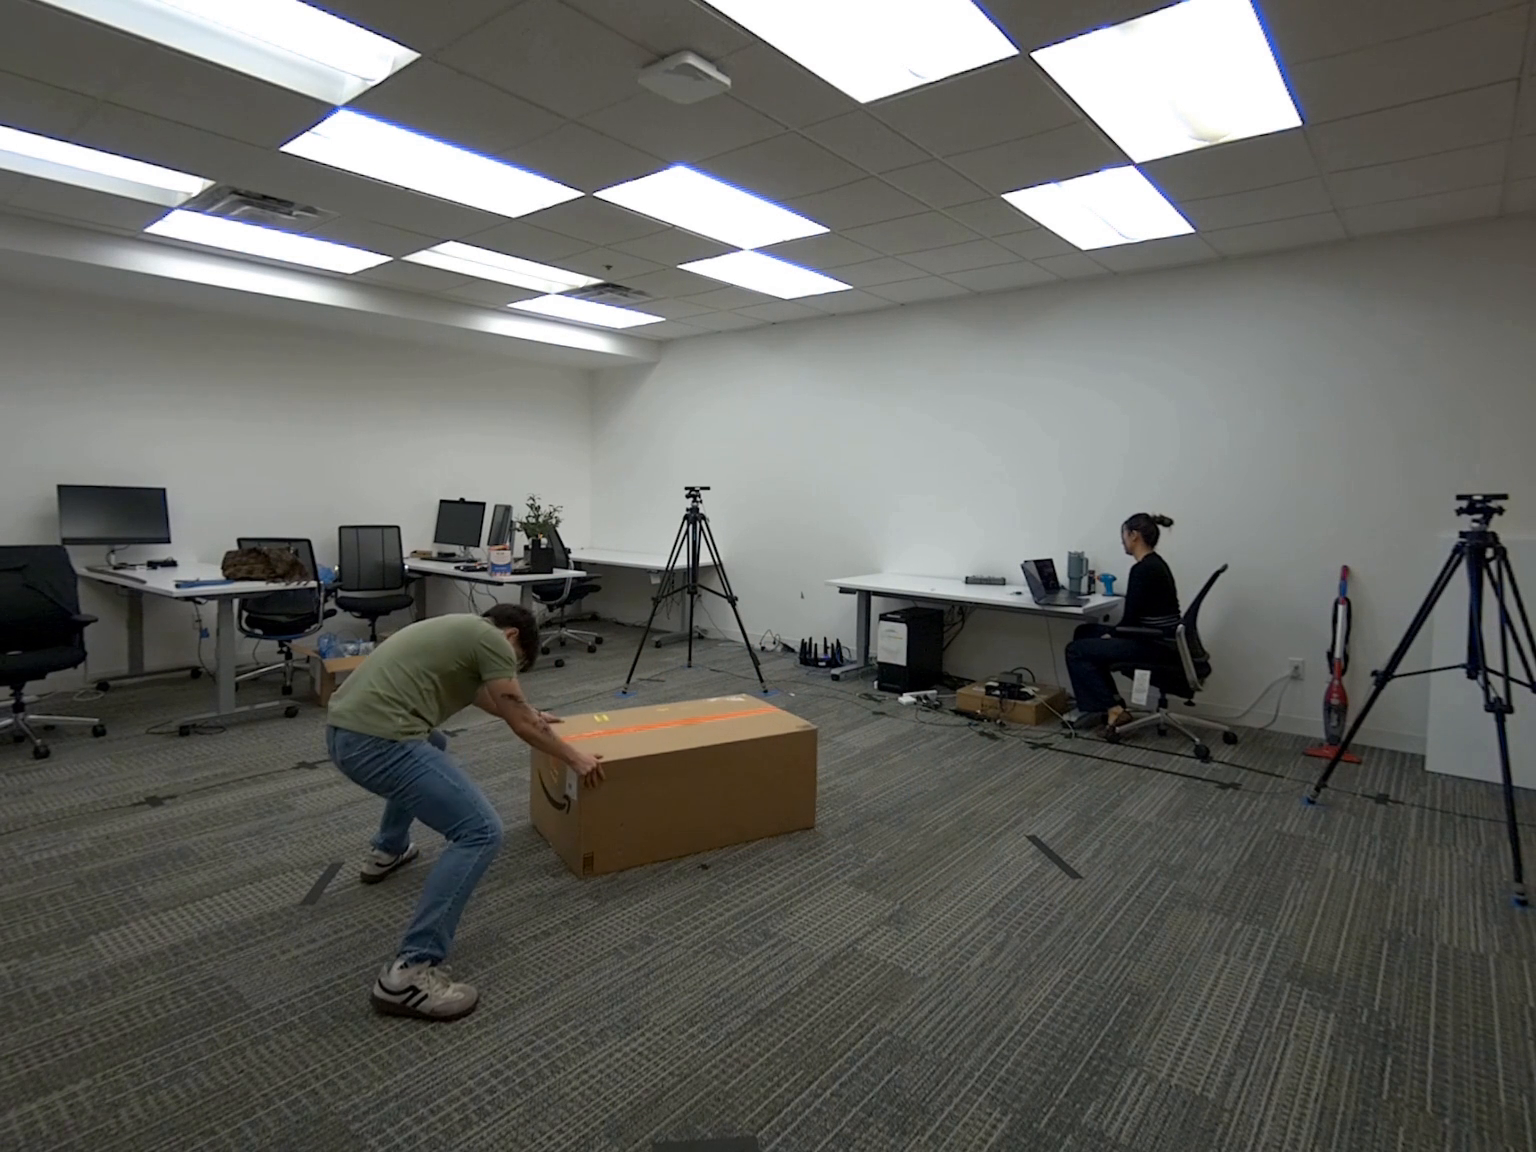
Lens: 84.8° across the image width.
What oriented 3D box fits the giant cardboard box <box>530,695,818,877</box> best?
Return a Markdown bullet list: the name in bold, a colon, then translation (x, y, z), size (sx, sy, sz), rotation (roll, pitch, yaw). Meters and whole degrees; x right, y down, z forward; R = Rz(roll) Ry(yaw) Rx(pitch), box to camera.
- **giant cardboard box**: translation (-0.400, 0.810, 3.474), size (0.998, 0.424, 0.596), rotation (-3, 7, -31)
